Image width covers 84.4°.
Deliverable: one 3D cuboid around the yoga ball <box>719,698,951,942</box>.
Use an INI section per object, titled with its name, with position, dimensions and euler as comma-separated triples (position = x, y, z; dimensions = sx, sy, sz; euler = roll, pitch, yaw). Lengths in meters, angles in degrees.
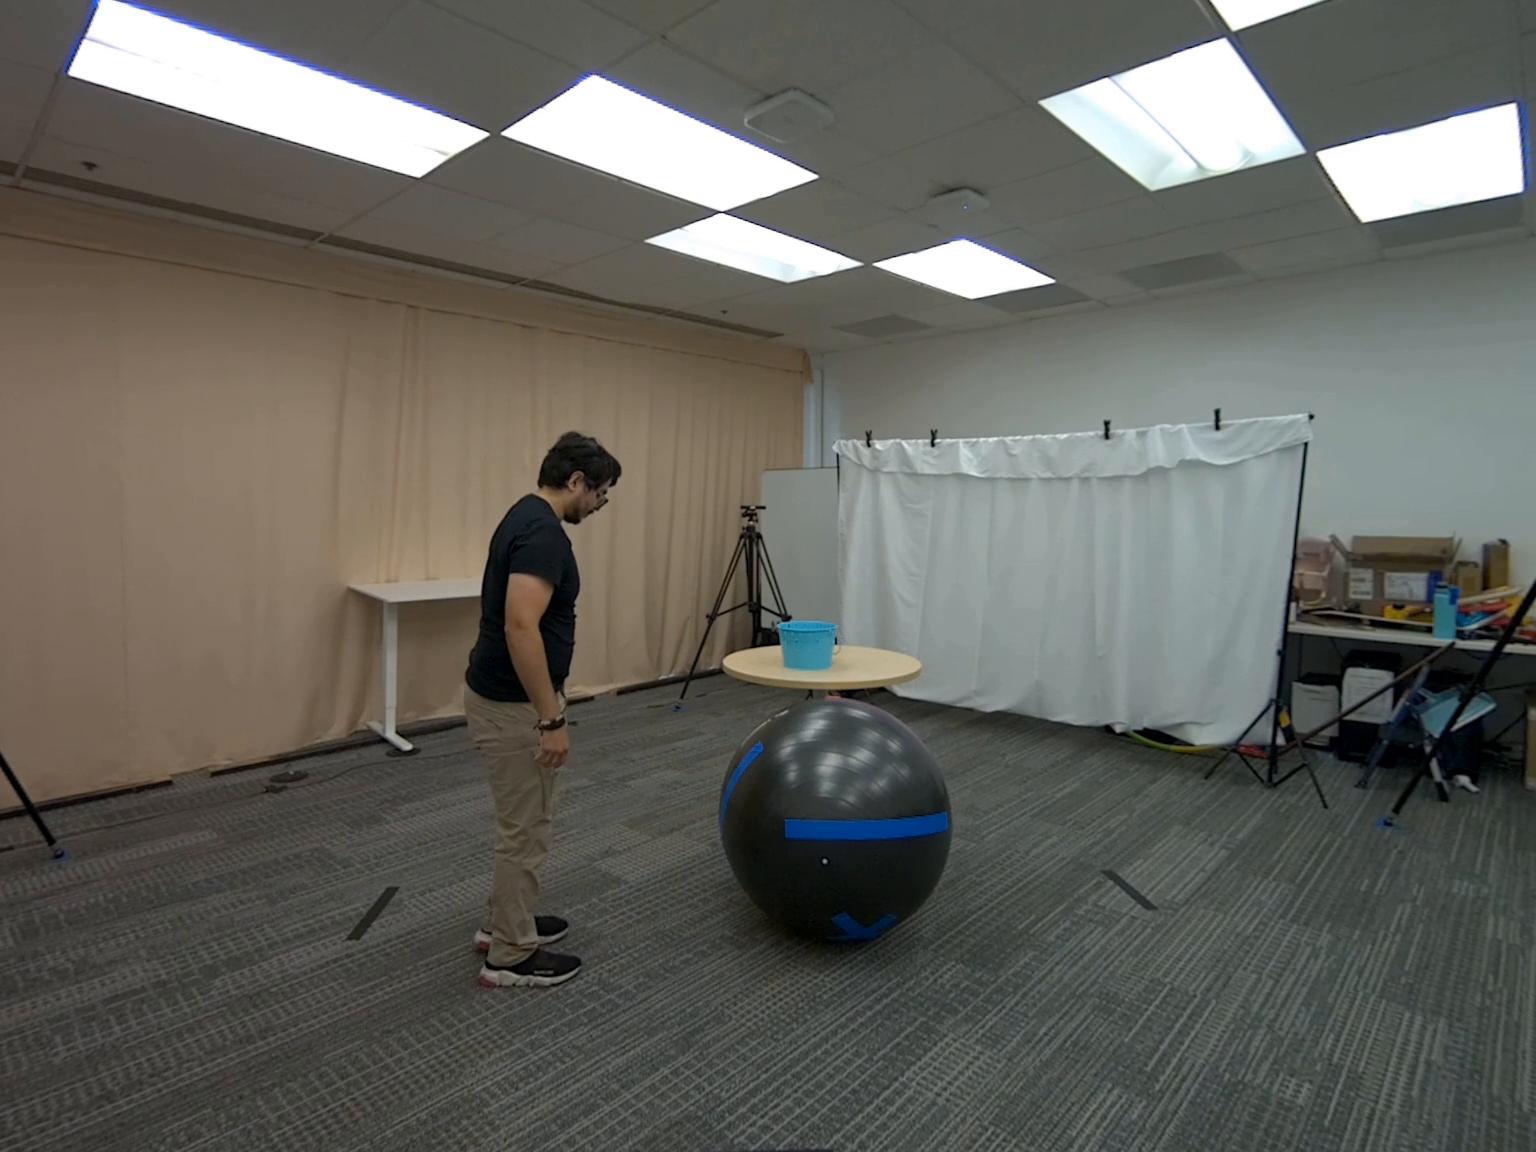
[yoga ball]
position = 0.223, 0.794, 2.772
dimensions = 0.757, 0.756, 0.760
euler = 0, 4, -2
